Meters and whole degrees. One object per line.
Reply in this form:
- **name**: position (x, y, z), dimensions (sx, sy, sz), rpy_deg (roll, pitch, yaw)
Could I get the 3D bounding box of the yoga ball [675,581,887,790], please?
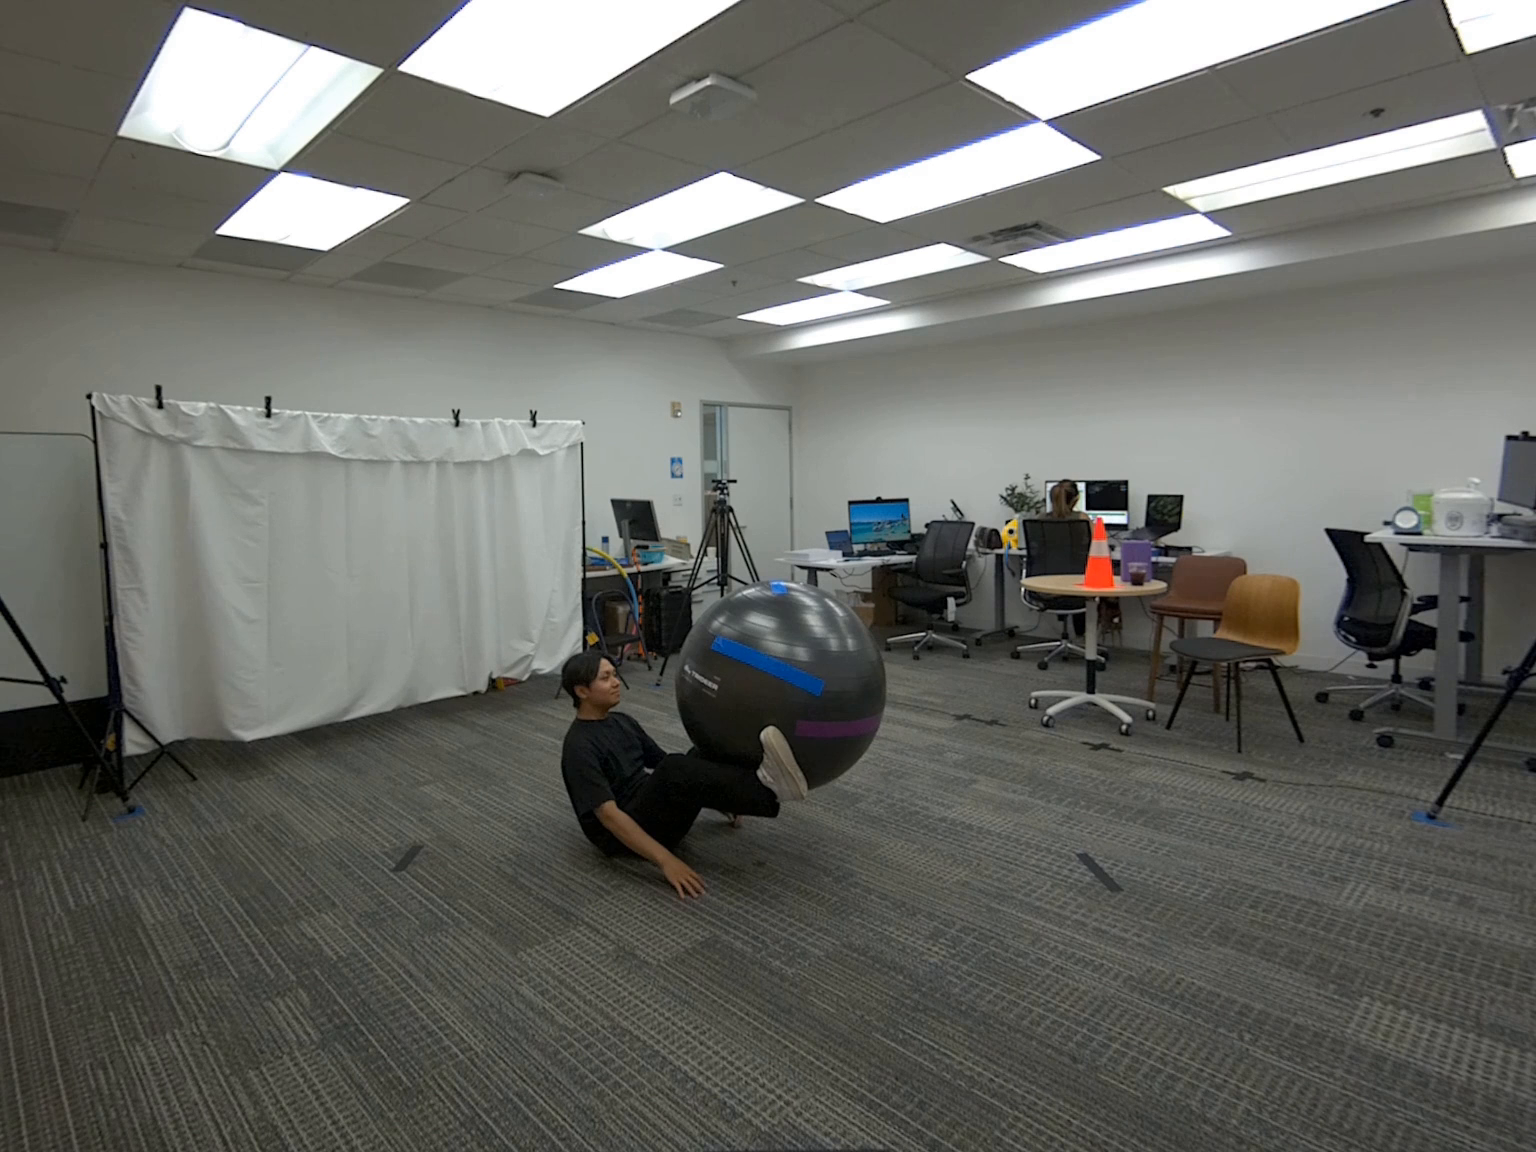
- **yoga ball**: position (0.042, 0.401, 3.110), dimensions (0.757, 0.755, 0.762), rpy_deg (-1, 5, -2)
